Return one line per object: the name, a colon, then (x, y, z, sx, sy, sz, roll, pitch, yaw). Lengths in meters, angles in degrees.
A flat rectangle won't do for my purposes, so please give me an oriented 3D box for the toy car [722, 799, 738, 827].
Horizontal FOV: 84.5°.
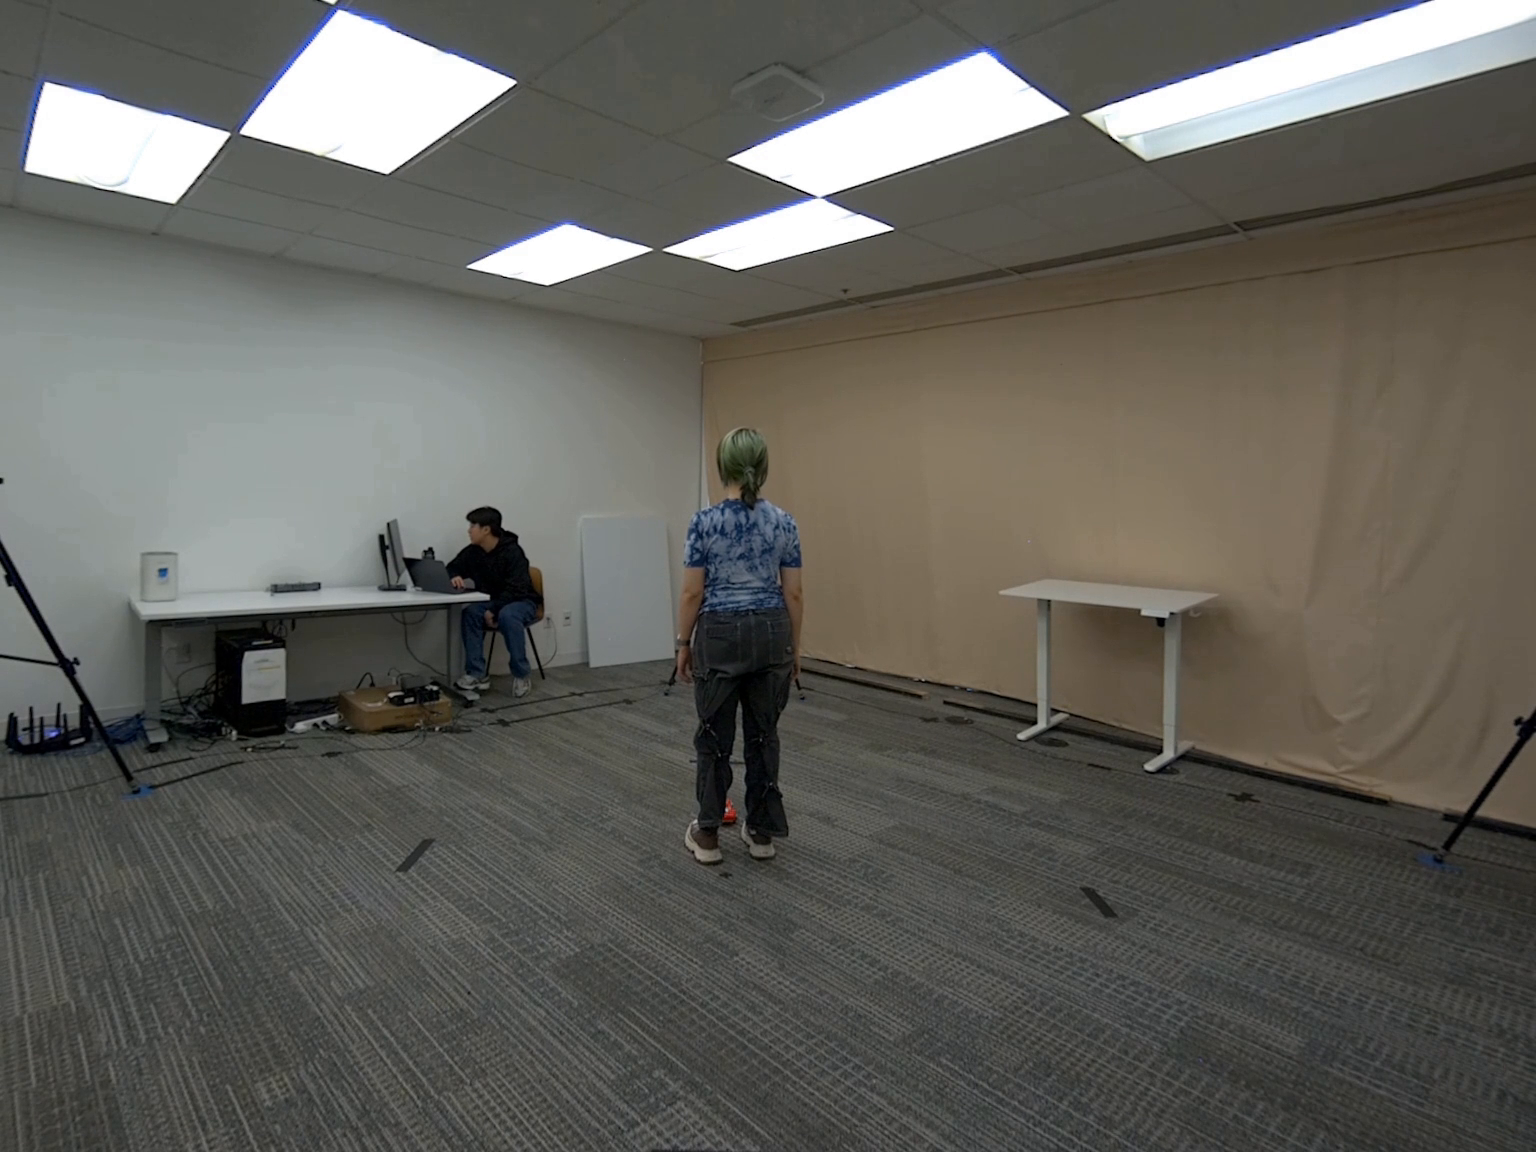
toy car: (-0.211, 1.023, 3.664, 0.129, 0.083, 0.255, 2, -5, -9)
